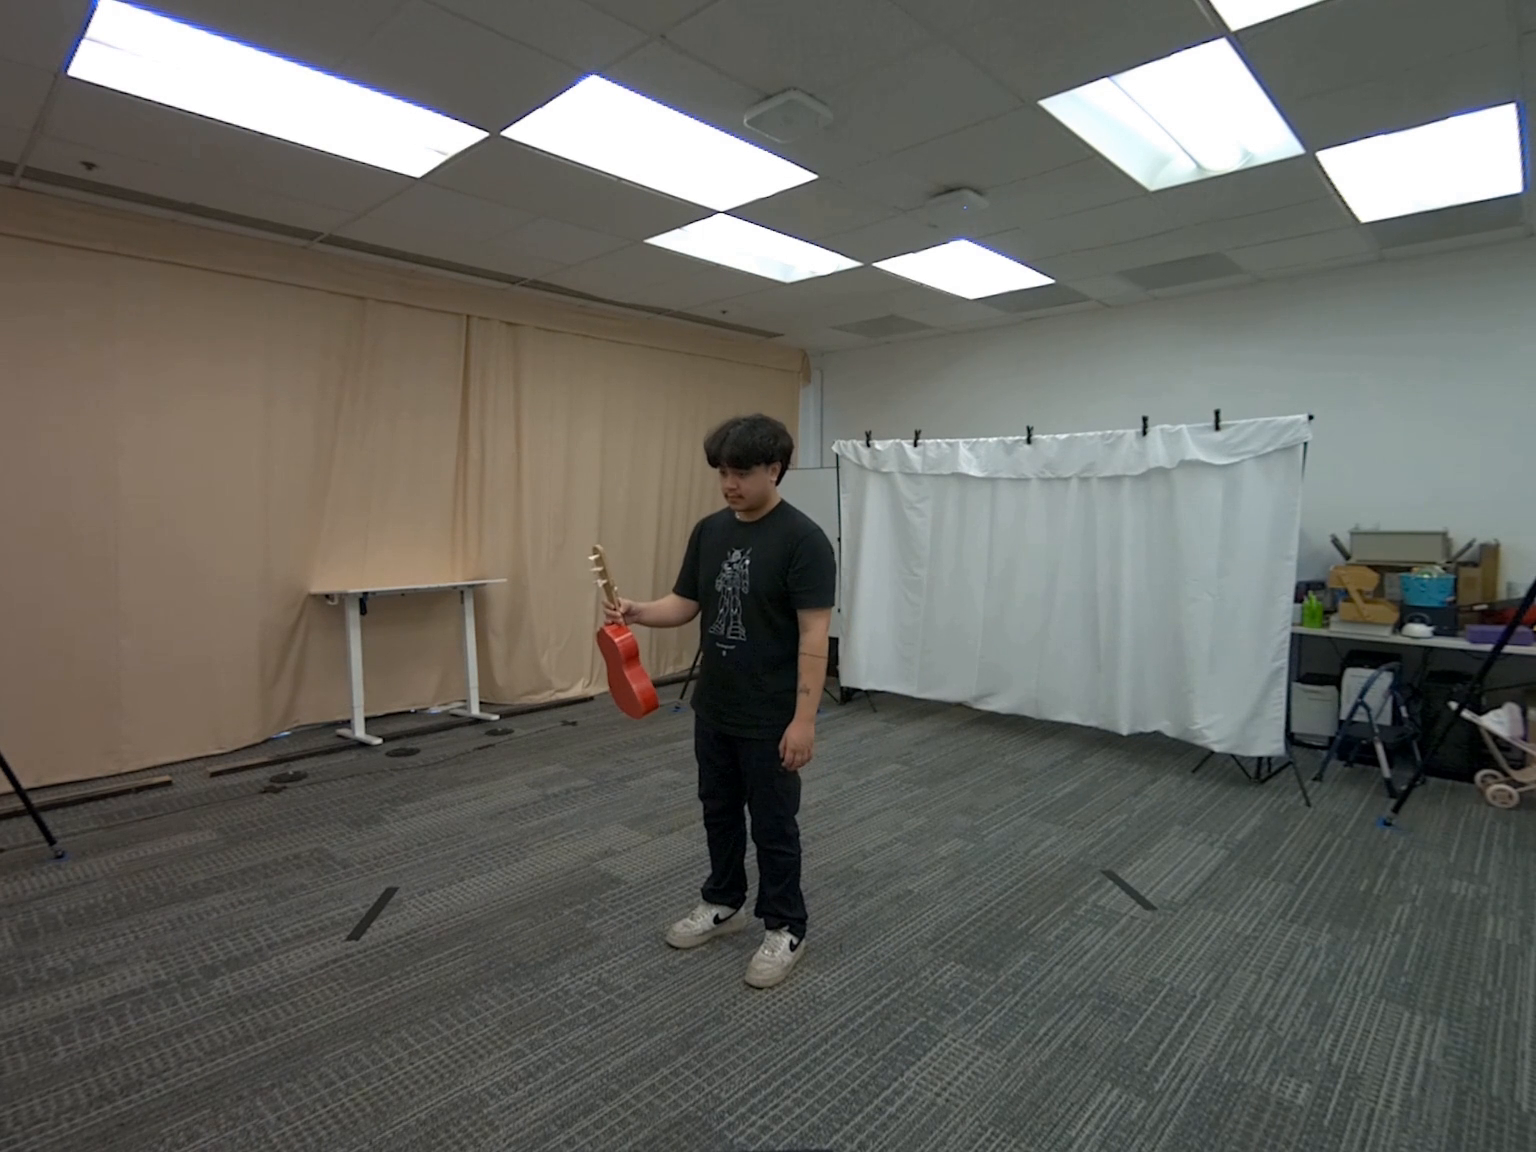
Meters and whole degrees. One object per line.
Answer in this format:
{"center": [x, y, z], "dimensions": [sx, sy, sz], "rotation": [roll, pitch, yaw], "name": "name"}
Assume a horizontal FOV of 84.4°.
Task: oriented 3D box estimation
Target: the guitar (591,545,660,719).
{"center": [-0.434, 0.164, 2.396], "dimensions": [0.069, 0.495, 0.198], "rotation": [-20, 6, -31], "name": "guitar"}
